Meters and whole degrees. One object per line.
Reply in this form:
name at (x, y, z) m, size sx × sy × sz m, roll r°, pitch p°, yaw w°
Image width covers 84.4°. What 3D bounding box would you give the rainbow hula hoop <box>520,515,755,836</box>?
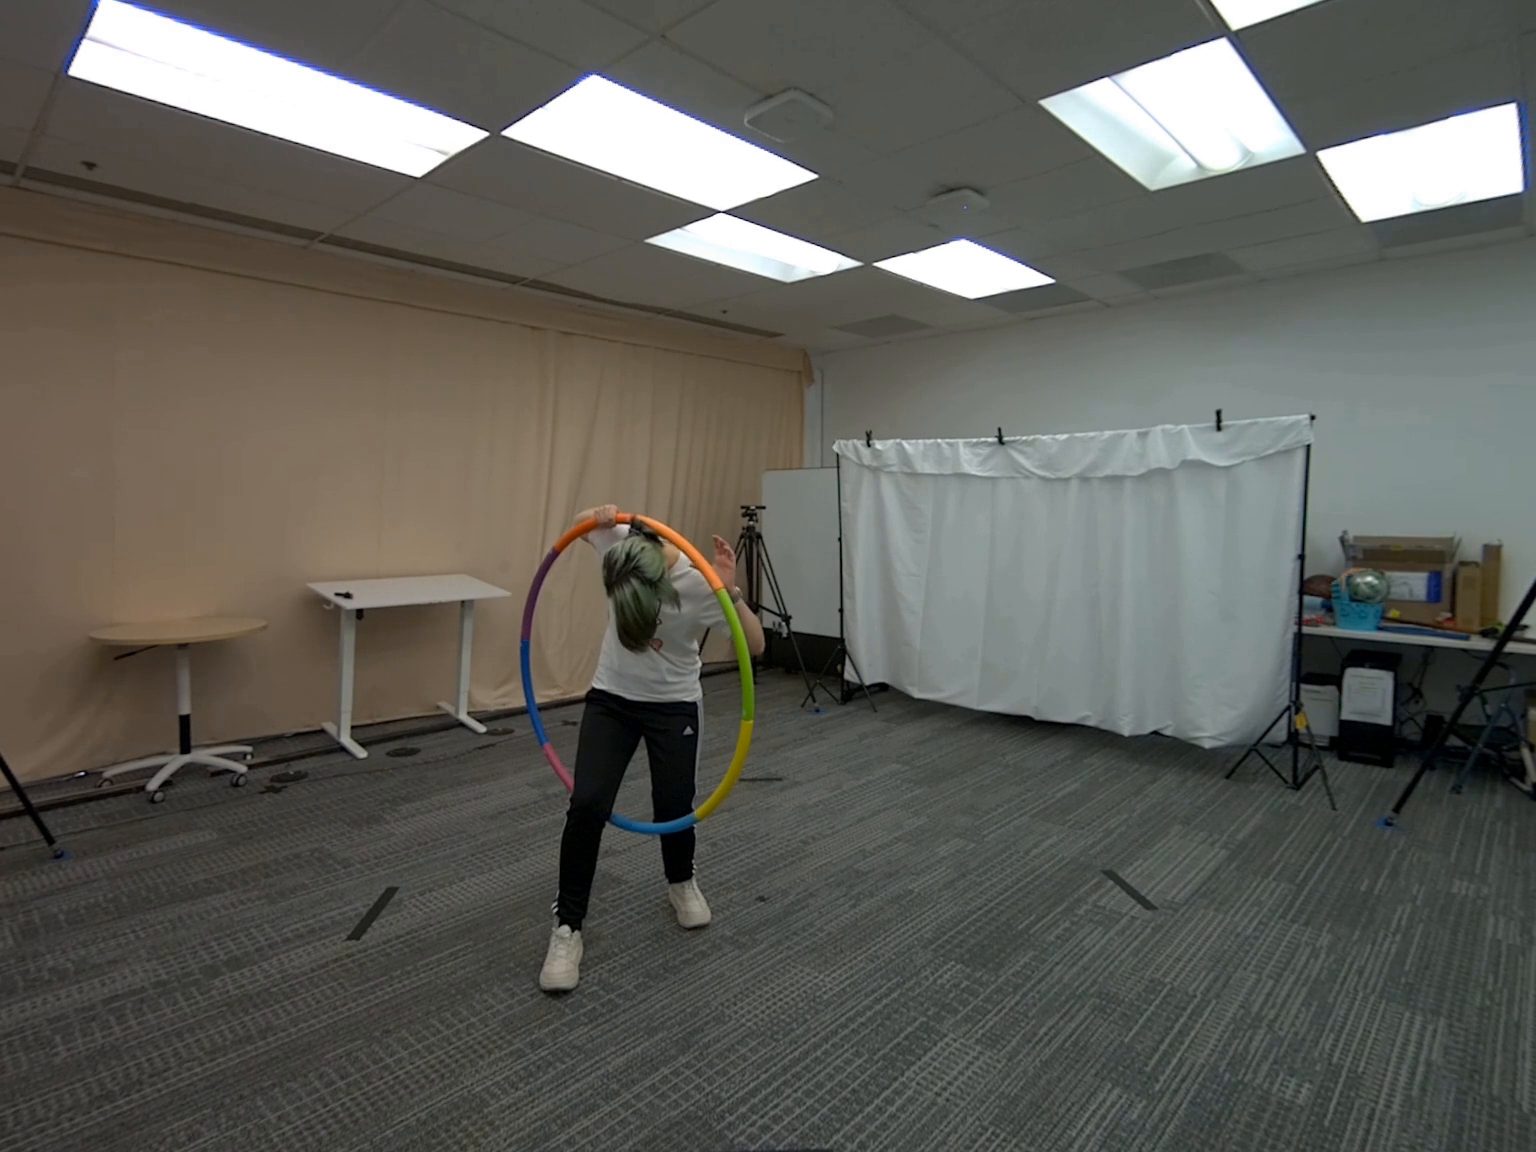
rainbow hula hoop at (-0.442, 0.303, 2.627) m, size 1.010 × 0.976 × 0.034 m, roll 3°, pitch 5°, yaw 37°
